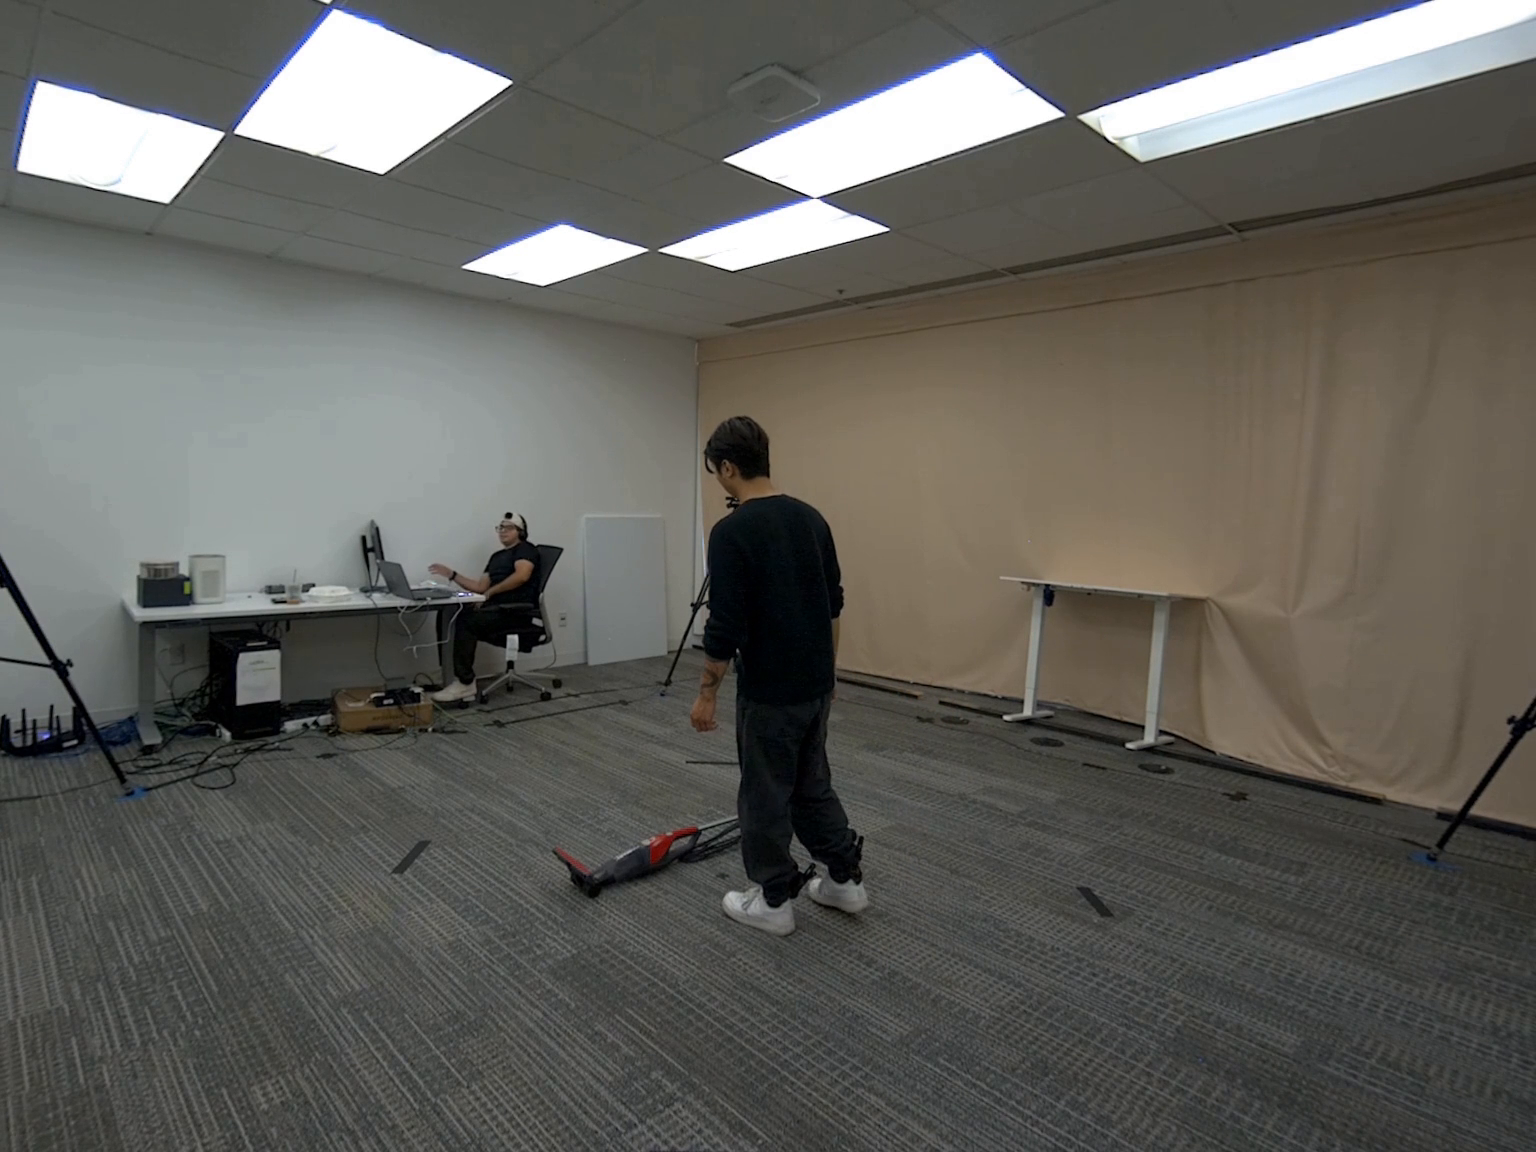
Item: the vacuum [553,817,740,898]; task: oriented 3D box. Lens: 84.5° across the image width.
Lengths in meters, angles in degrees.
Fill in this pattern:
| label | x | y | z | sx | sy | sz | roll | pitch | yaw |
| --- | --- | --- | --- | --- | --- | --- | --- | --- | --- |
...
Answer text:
| label | x | y | z | sx | sy | sz | roll | pitch | yaw |
| --- | --- | --- | --- | --- | --- | --- | --- | --- | --- |
| vacuum | -0.279 | 1.028 | 3.262 | 1.025 | 0.143 | 0.259 | -2 | 8 | -39 |
